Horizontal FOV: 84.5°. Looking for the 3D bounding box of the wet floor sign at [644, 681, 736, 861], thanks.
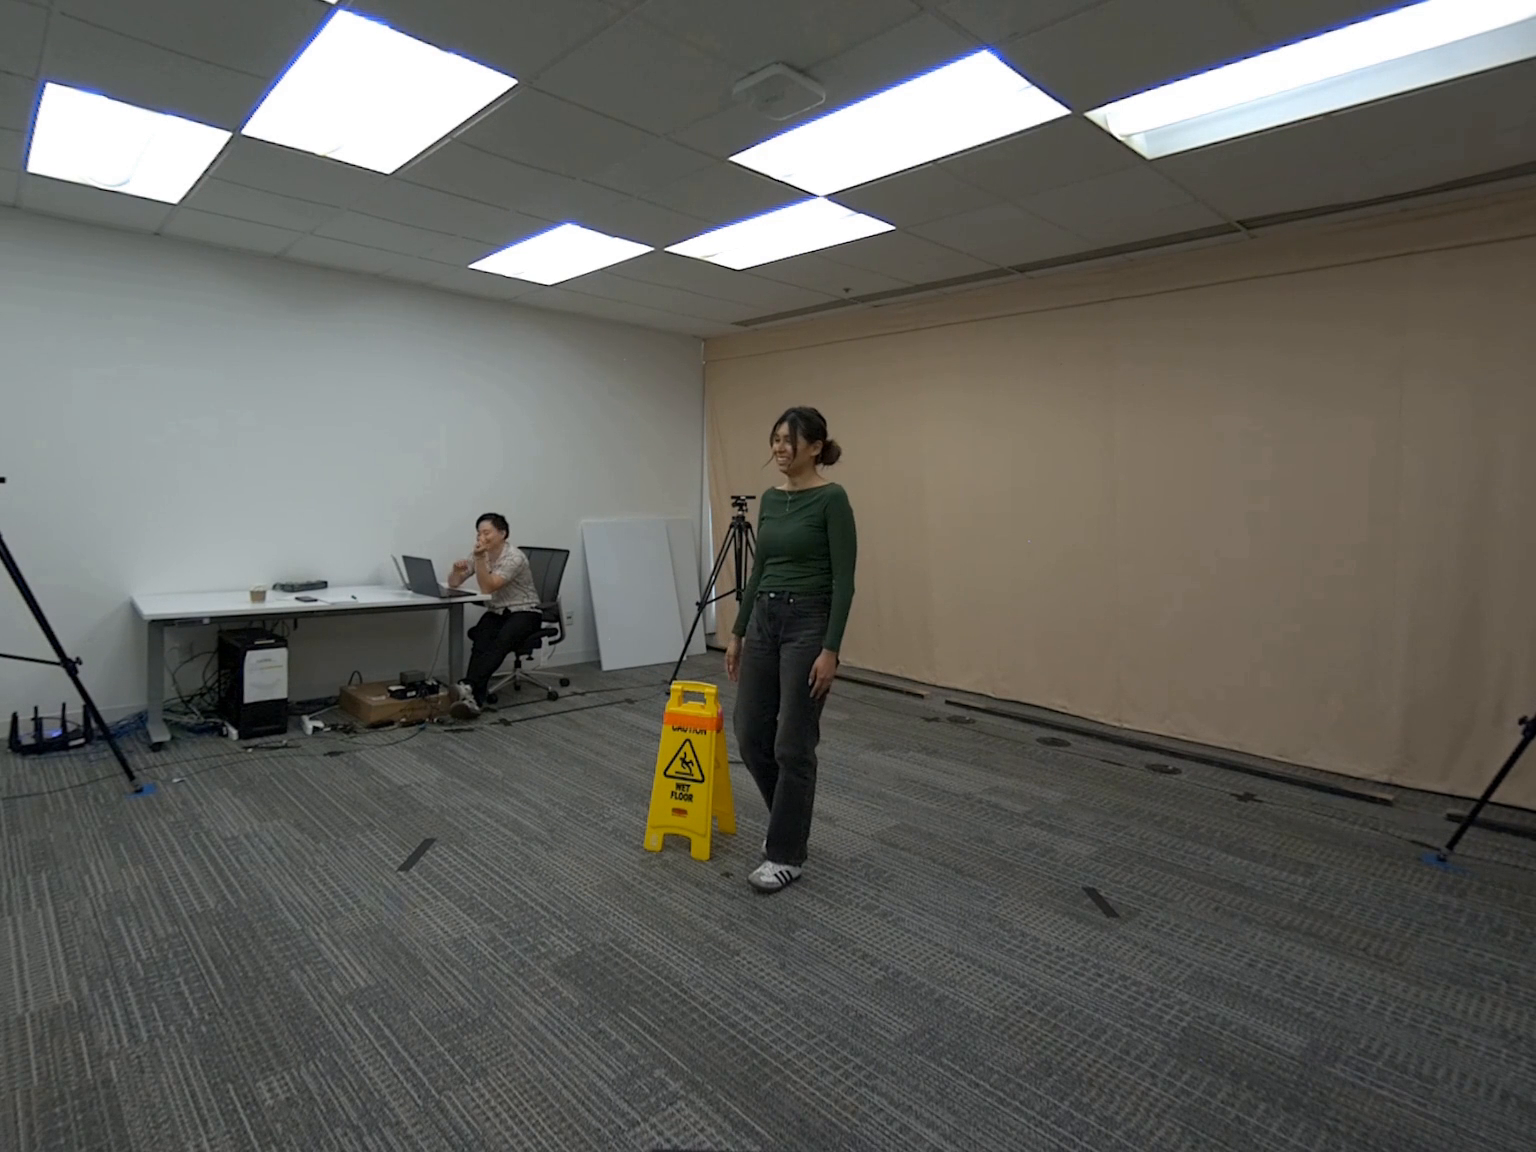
[{"bbox_3d":[-0.313,0.751,3.387,0.287,0.644,0.286,2,3,20],"label":"wet floor sign"}]
